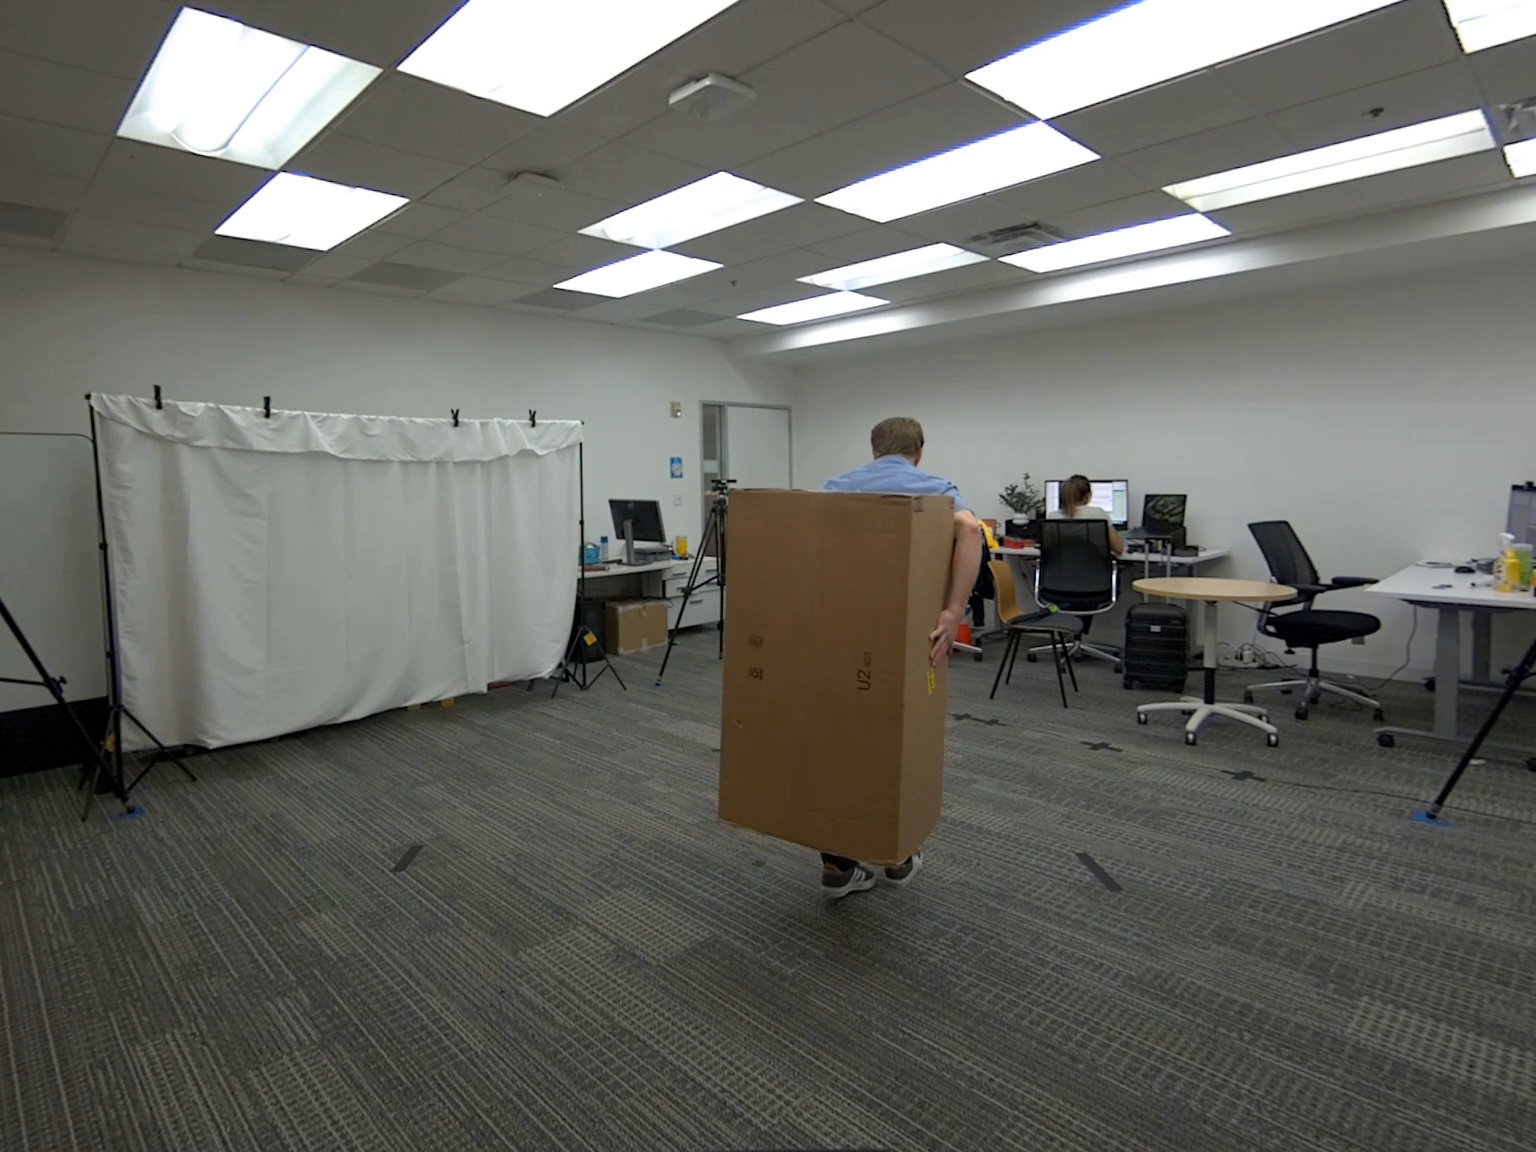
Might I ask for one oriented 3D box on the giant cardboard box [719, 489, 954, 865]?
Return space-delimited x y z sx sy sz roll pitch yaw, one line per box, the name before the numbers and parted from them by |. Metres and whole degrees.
giant cardboard box | 0.204 0.262 2.611 0.599 1.024 0.437 4 4 28
